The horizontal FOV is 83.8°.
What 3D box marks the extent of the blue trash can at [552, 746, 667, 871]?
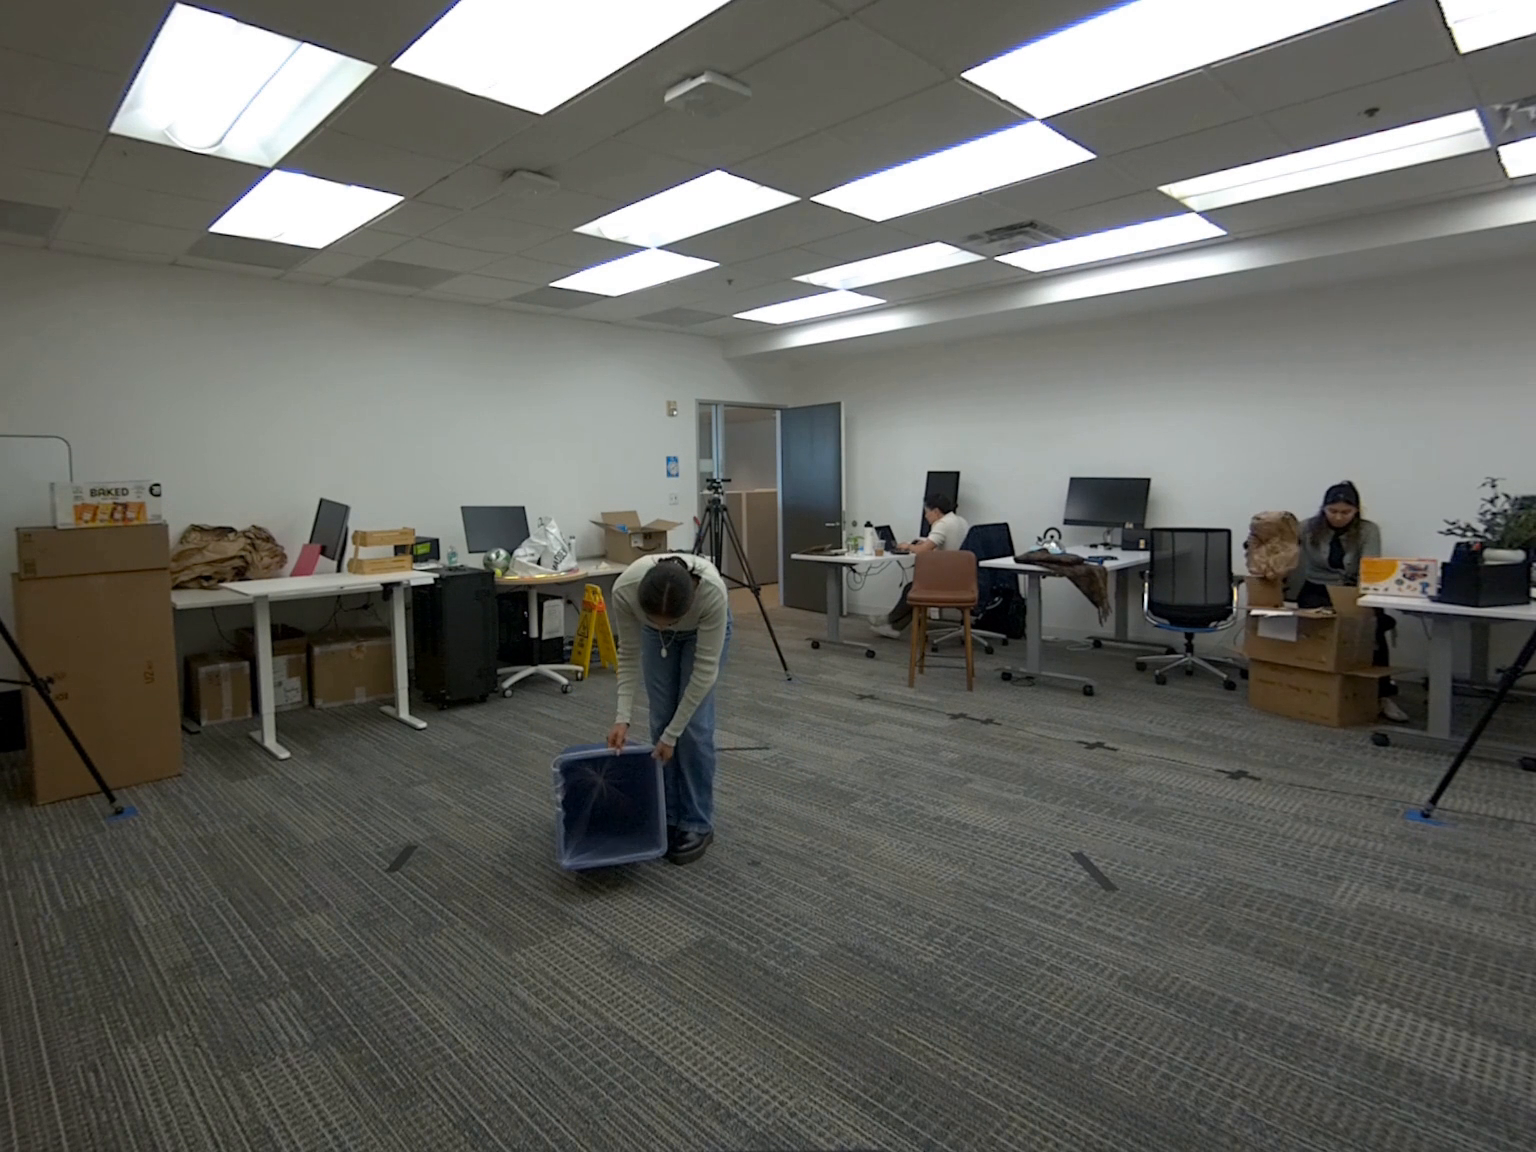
[{"bbox_3d":[-0.609,0.804,3.222,0.370,0.380,0.717,-3,-5,-13],"label":"blue trash can"}]
